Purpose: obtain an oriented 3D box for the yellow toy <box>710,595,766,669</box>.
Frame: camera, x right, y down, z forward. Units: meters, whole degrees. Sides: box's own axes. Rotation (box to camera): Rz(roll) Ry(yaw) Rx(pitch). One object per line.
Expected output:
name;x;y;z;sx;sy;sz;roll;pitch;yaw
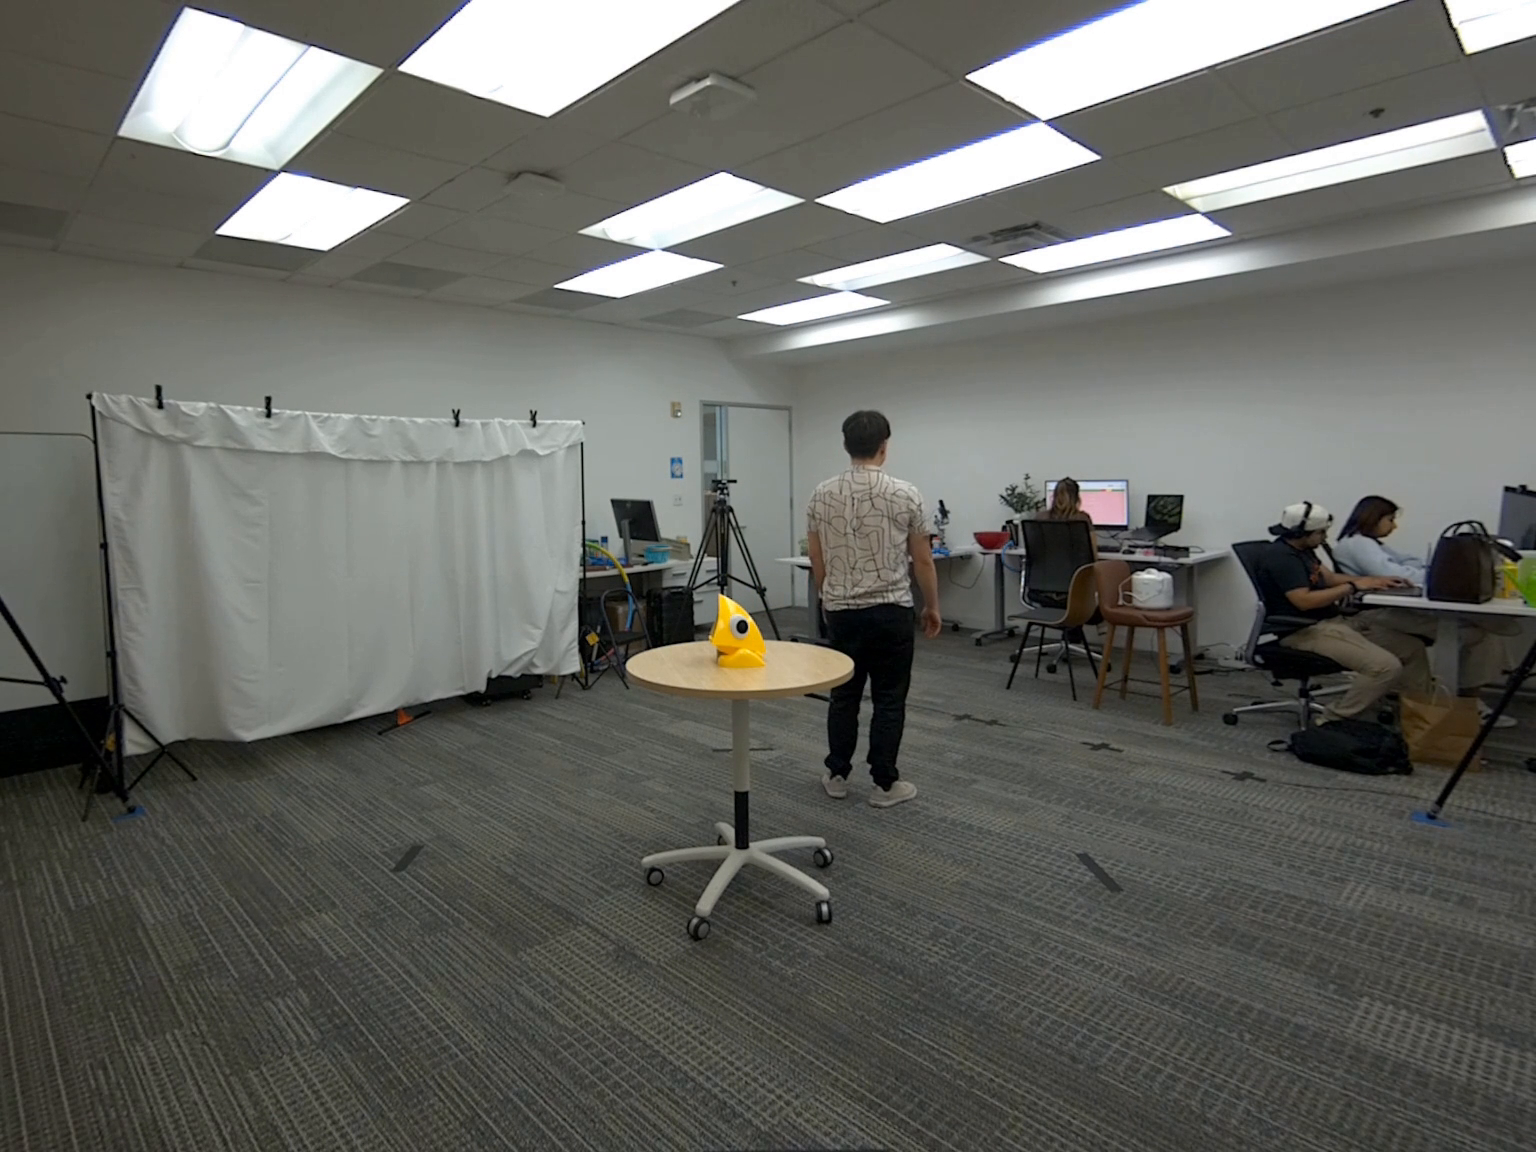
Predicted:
yellow toy;-0.098;0.177;2.888;0.192;0.230;0.206;-1;5;-4
